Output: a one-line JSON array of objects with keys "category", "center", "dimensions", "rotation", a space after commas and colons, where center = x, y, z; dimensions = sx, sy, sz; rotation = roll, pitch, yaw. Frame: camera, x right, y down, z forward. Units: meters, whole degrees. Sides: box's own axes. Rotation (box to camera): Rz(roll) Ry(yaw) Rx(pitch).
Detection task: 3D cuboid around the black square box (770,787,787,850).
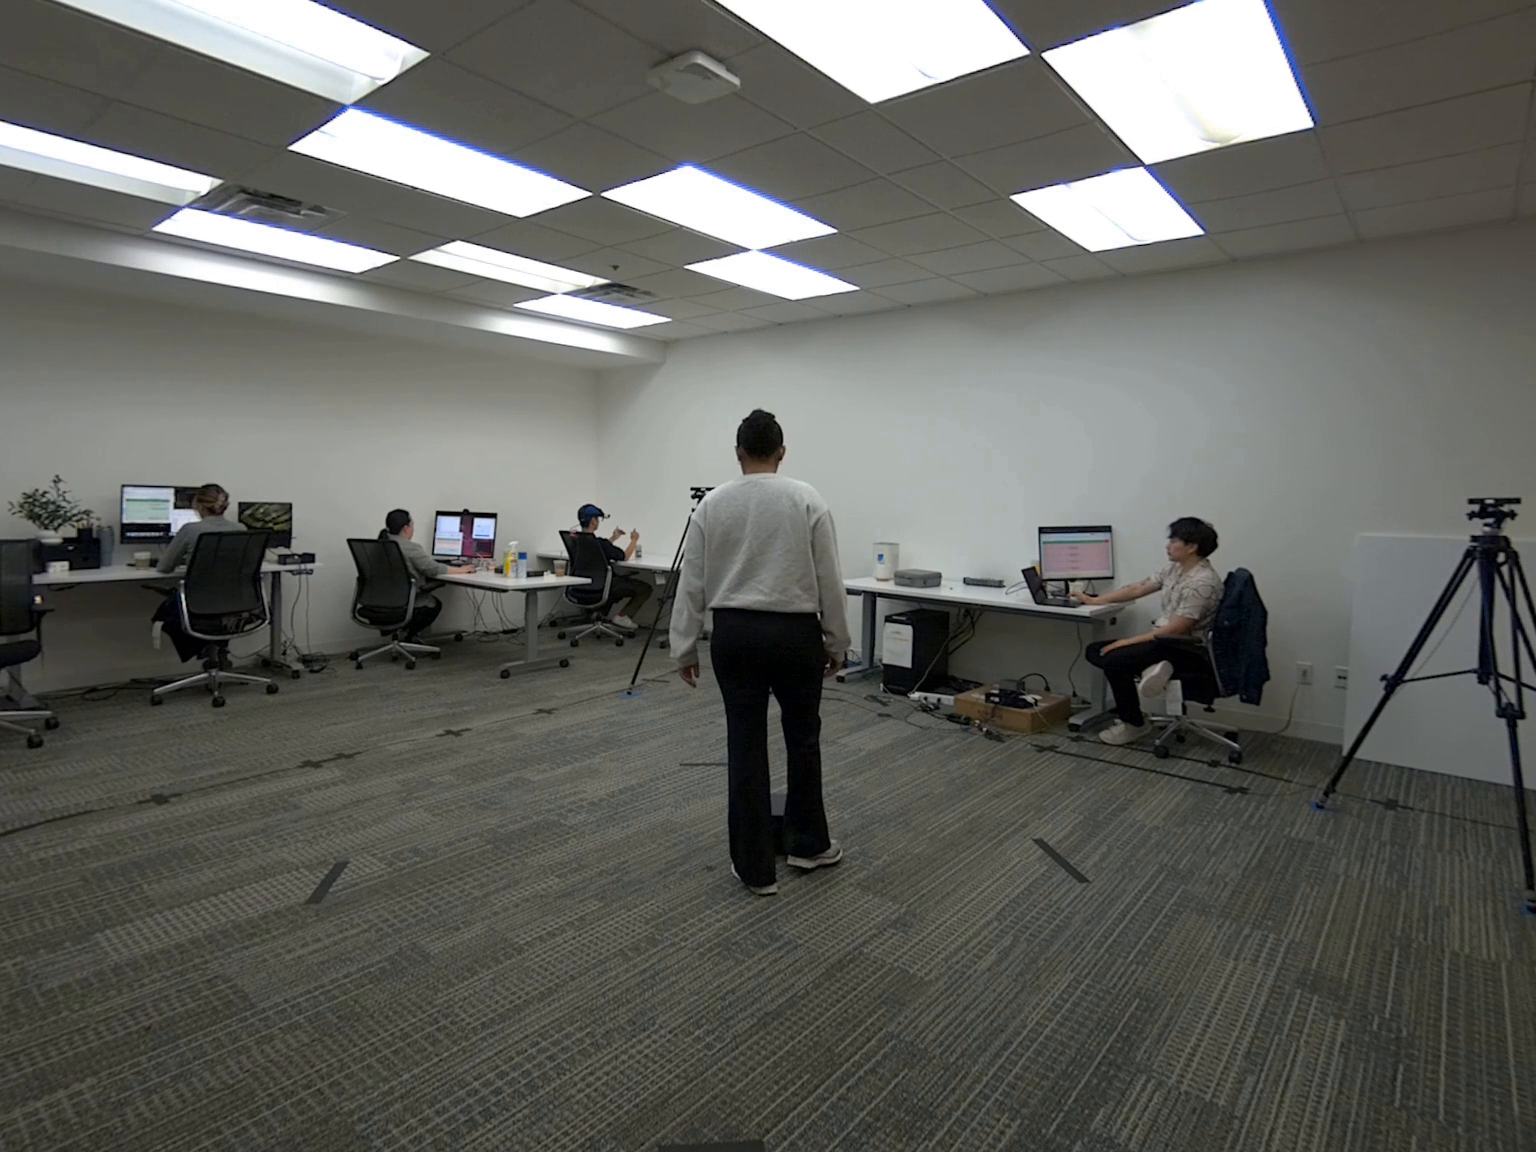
[{"category": "black square box", "center": [0.060, 0.958, 3.345], "dimensions": [0.216, 0.155, 0.229], "rotation": [1, 5, -3]}]
